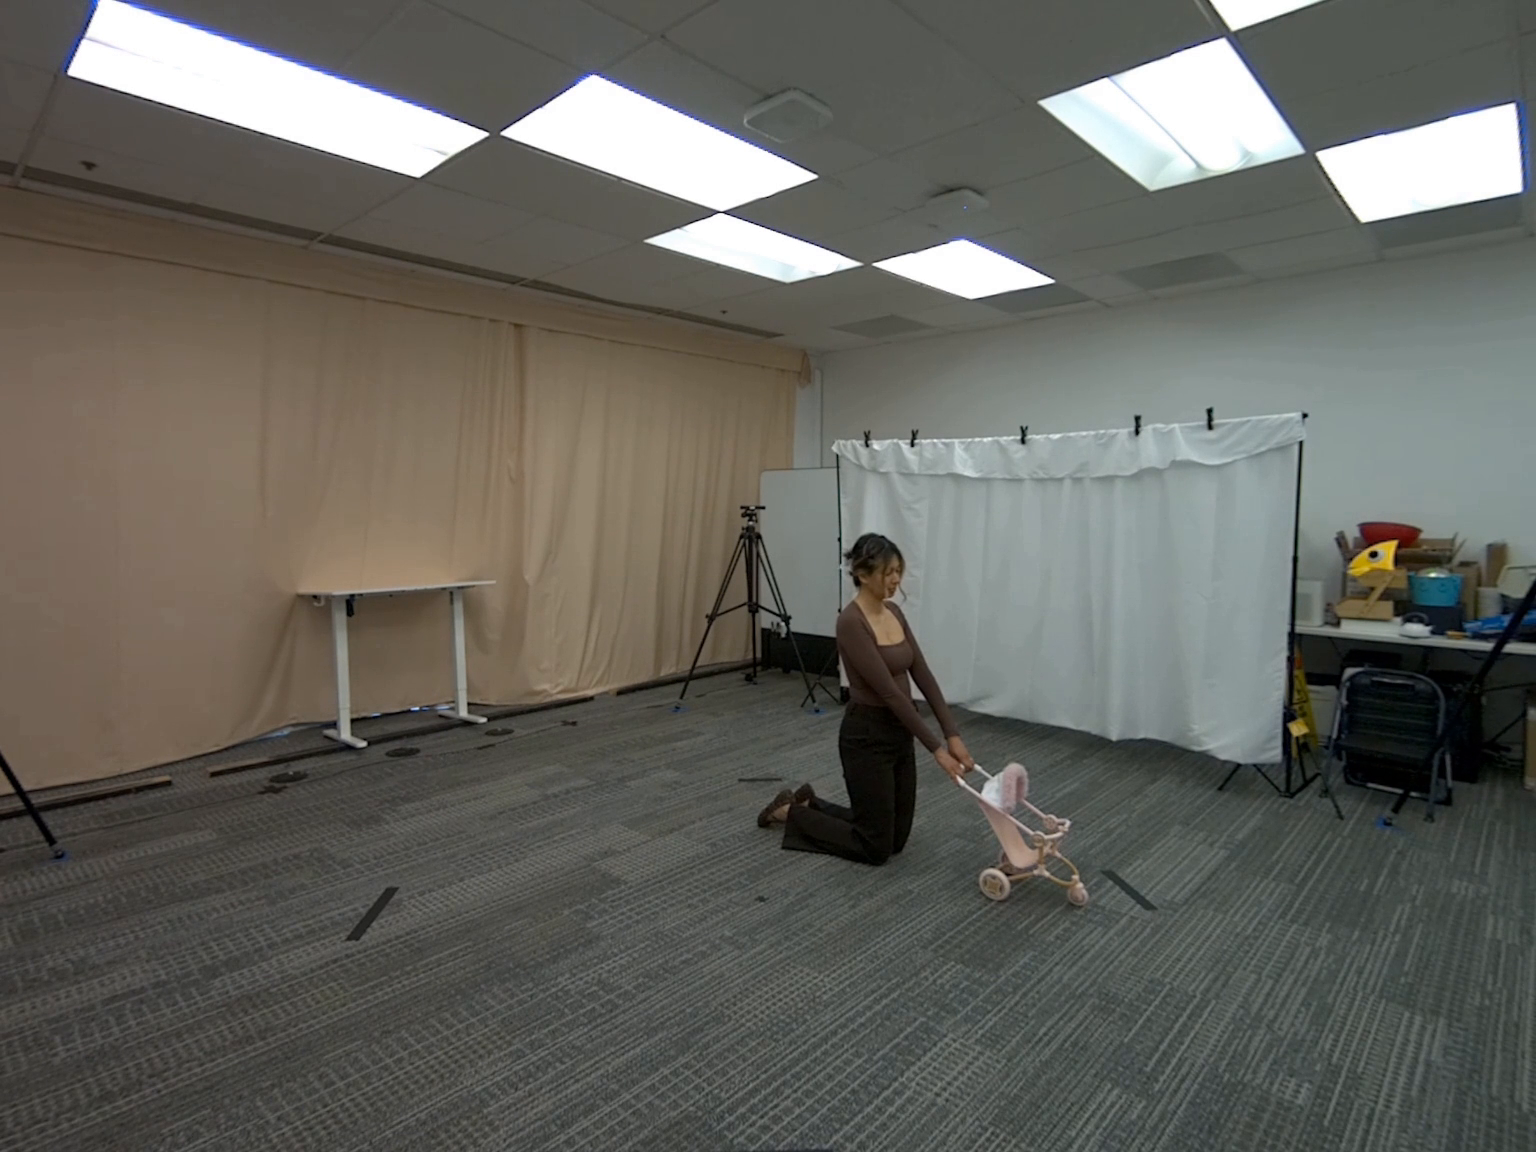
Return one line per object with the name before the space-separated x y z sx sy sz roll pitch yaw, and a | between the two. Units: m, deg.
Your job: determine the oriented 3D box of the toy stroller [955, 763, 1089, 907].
toy stroller | 0.918 0.916 3.026 0.349 0.539 0.273 -20 -10 37
